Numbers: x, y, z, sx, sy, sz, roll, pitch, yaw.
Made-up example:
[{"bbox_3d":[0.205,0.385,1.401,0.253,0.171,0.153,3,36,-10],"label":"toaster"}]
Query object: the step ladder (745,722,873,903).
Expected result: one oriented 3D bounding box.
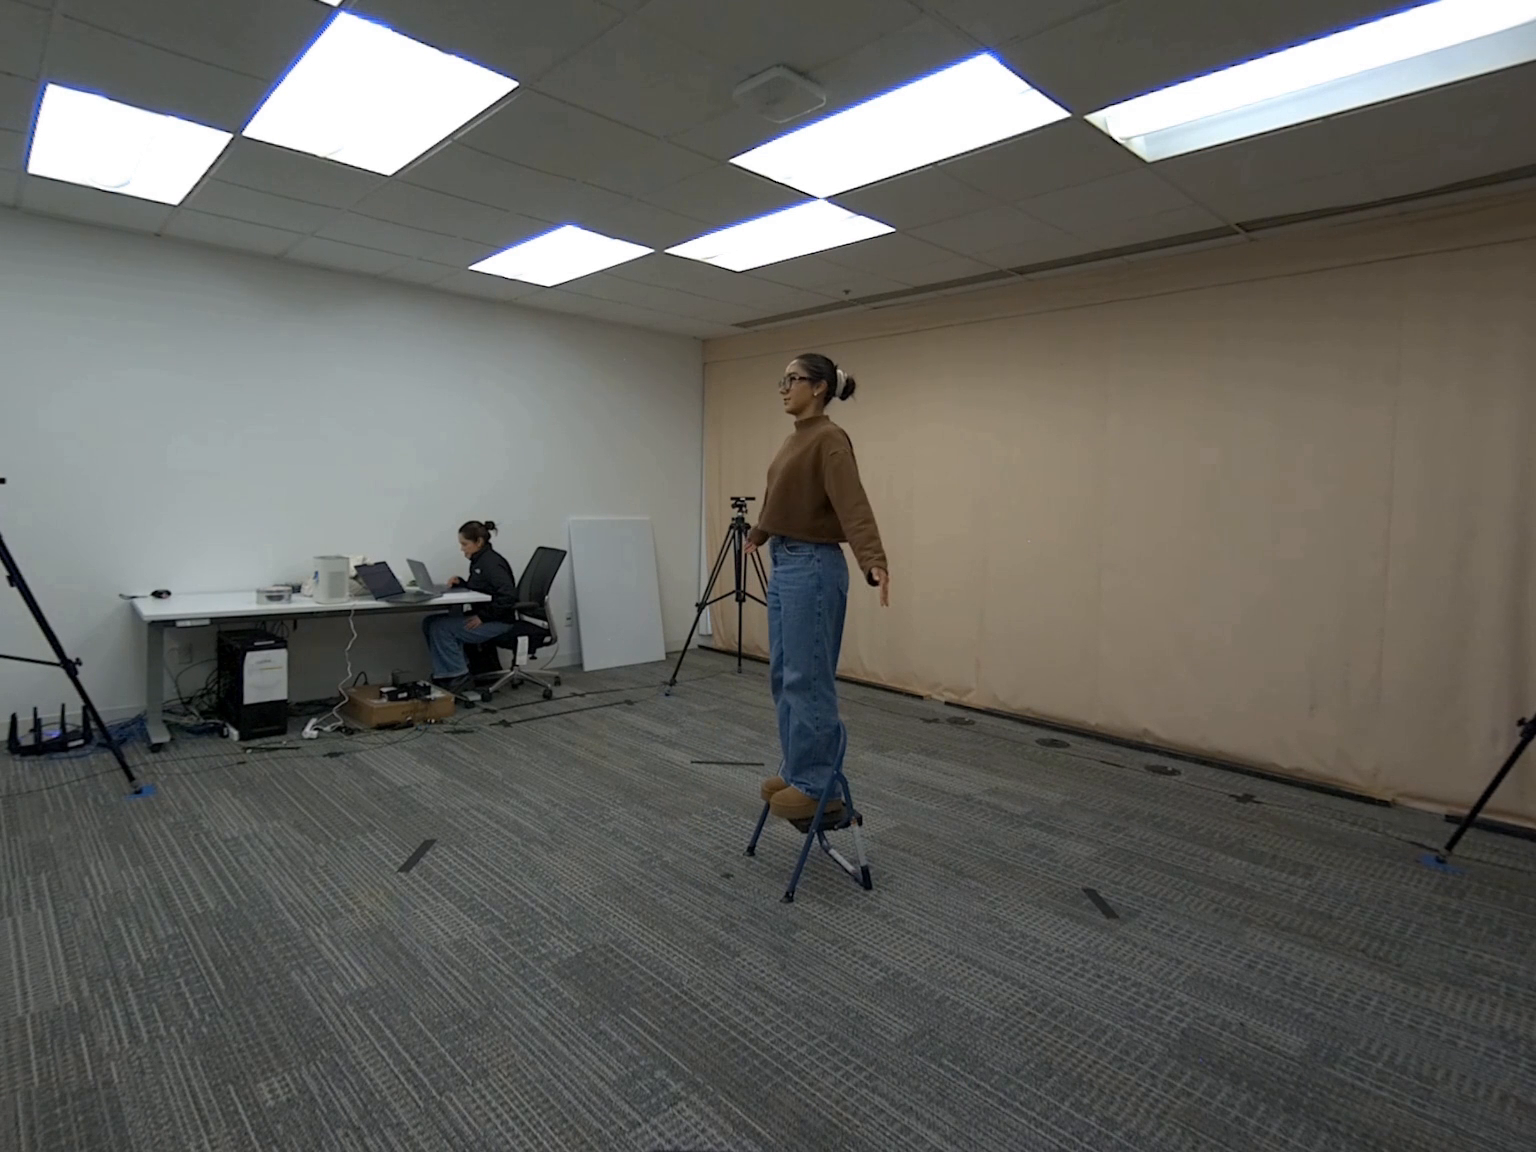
[{"bbox_3d":[0.147,0.812,3.140,0.344,0.604,0.438,0,4,-21],"label":"step ladder"}]
